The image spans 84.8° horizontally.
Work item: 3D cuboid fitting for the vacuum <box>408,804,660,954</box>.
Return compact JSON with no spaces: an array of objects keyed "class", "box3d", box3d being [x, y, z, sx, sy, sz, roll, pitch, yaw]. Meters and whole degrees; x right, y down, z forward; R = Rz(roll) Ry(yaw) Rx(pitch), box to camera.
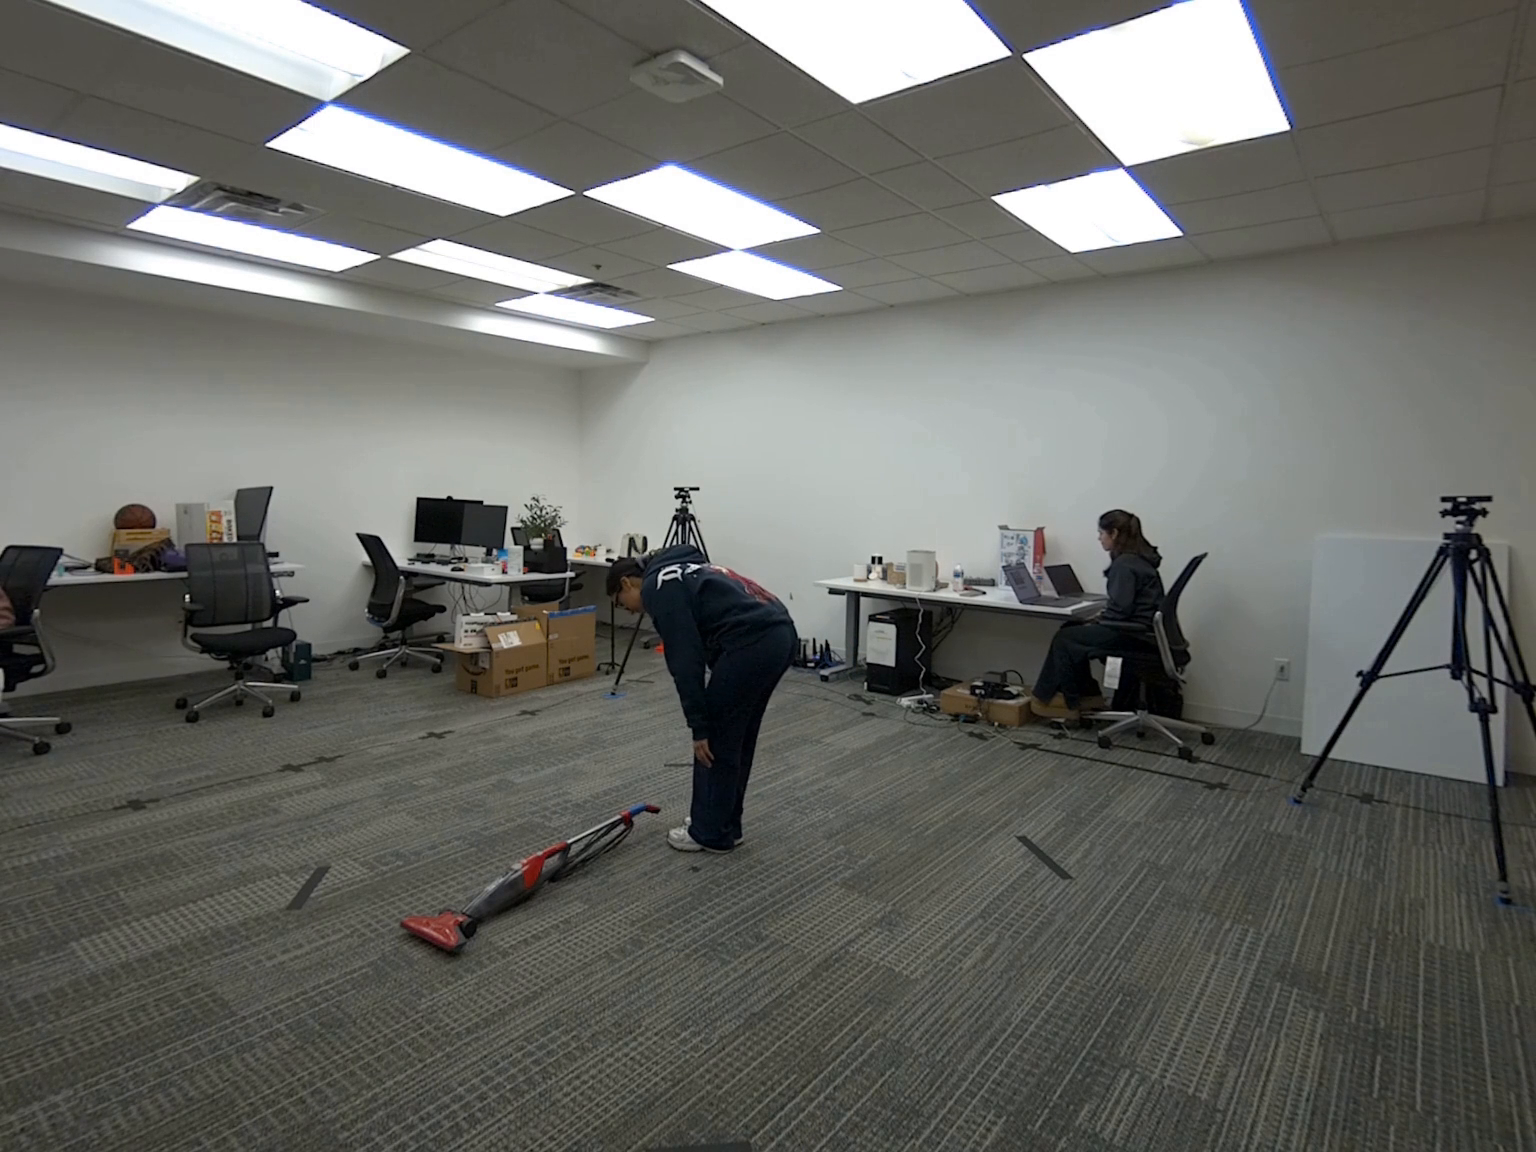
[{"class":"vacuum","box3d":[-0.737,1.017,3.030,0.260,0.143,1.024,-1,6,31]}]
